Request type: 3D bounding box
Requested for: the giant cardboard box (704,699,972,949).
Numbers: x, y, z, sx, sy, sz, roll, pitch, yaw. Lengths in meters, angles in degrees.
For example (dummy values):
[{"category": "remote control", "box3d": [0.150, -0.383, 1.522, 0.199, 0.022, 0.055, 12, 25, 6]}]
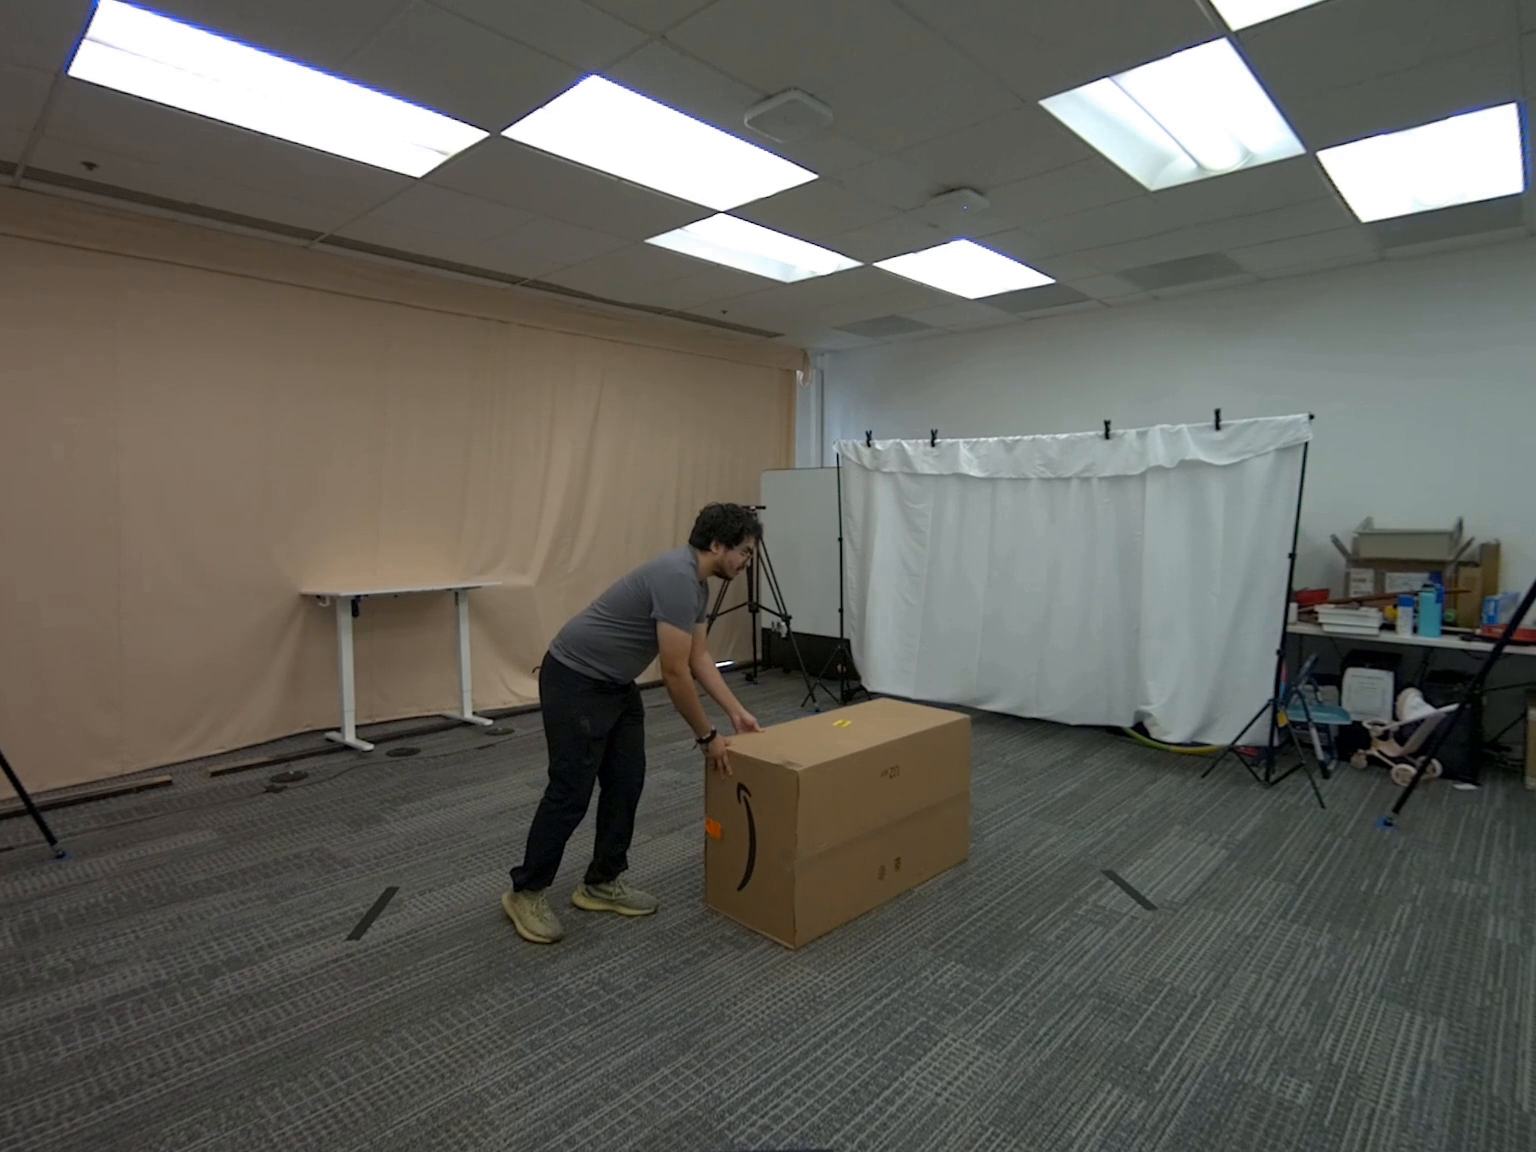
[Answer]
[{"category": "giant cardboard box", "box3d": [0.290, 0.849, 3.114, 0.994, 0.576, 0.440, -4, 6, -44]}]
